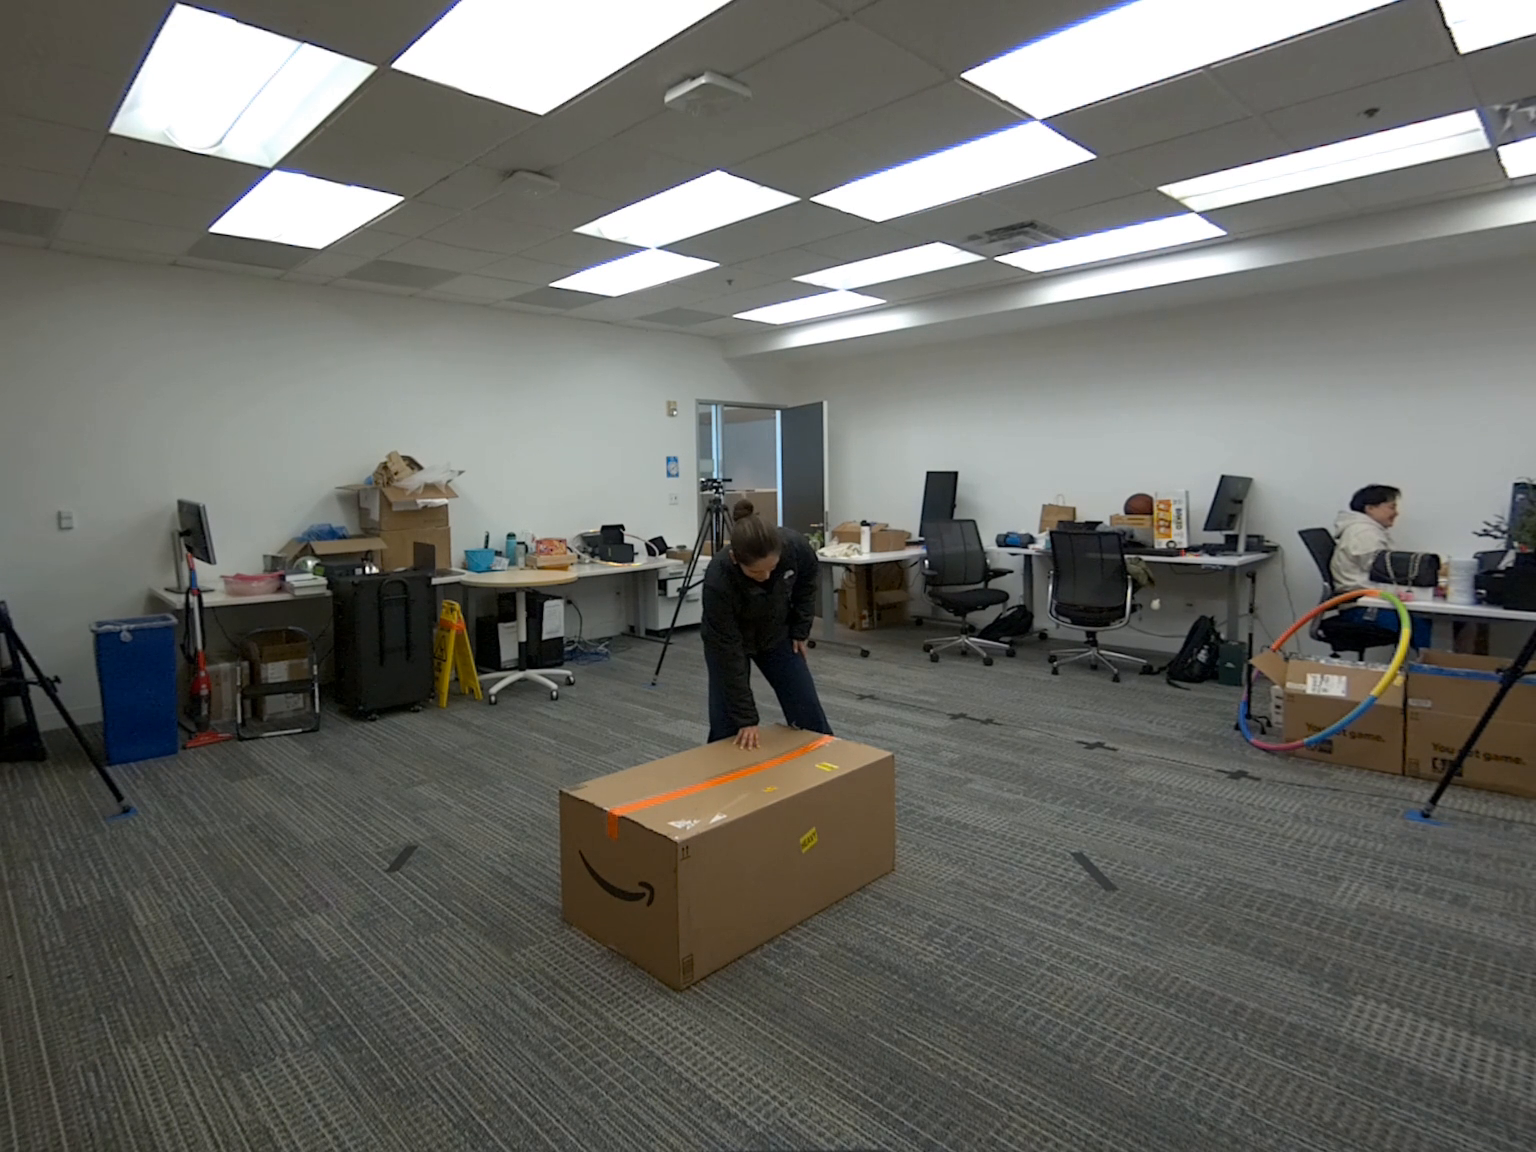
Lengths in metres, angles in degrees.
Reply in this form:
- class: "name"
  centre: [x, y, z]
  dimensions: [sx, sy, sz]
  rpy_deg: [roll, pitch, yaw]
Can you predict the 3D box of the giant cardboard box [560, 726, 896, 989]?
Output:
- class: "giant cardboard box"
  centre: [-0.106, 0.864, 2.884]
  dimensions: [0.601, 0.445, 1.001]
  rpy_deg: [2, 7, 44]
